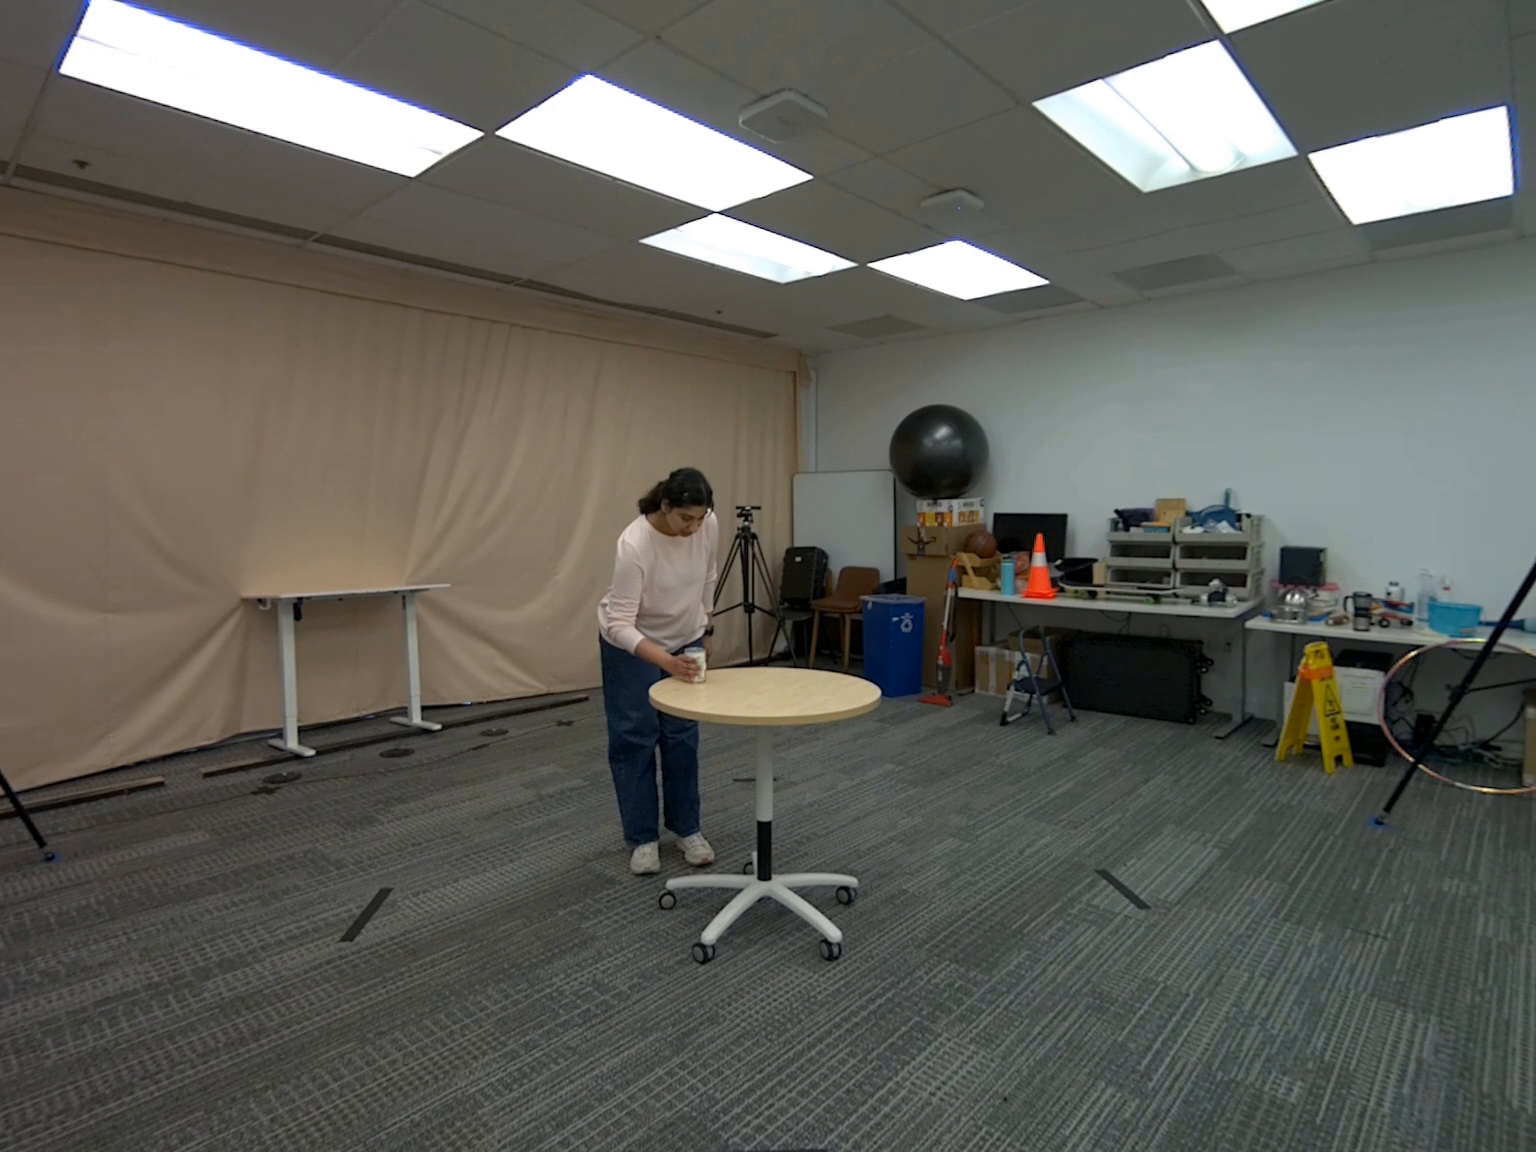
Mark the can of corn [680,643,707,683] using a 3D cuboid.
[{"bbox_3d":[-0.248,0.316,2.910,0.074,0.111,0.074,-4,1,-2],"label":"can of corn"}]
